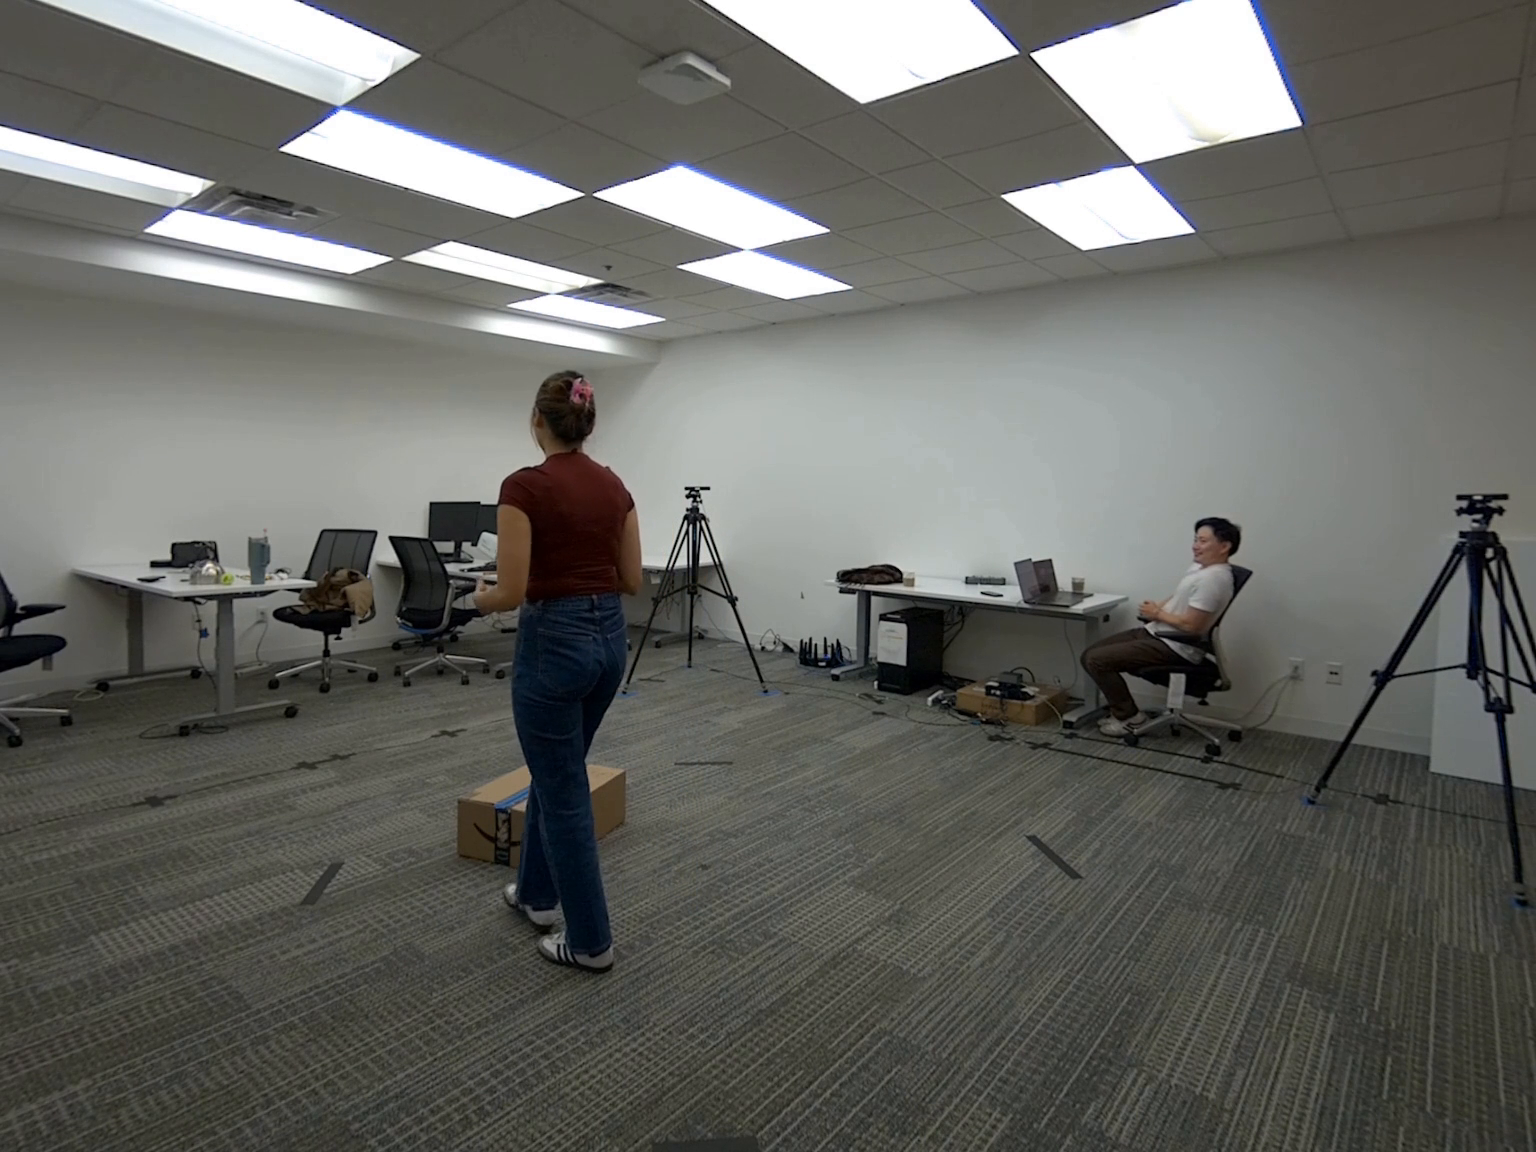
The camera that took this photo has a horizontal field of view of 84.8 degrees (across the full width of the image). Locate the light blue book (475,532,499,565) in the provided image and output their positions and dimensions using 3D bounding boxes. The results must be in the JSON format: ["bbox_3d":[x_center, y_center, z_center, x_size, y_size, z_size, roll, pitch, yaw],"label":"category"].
[{"bbox_3d":[-0.811,-0.072,2.695,0.185,0.059,0.270,15,3,-30],"label":"light blue book"}]
